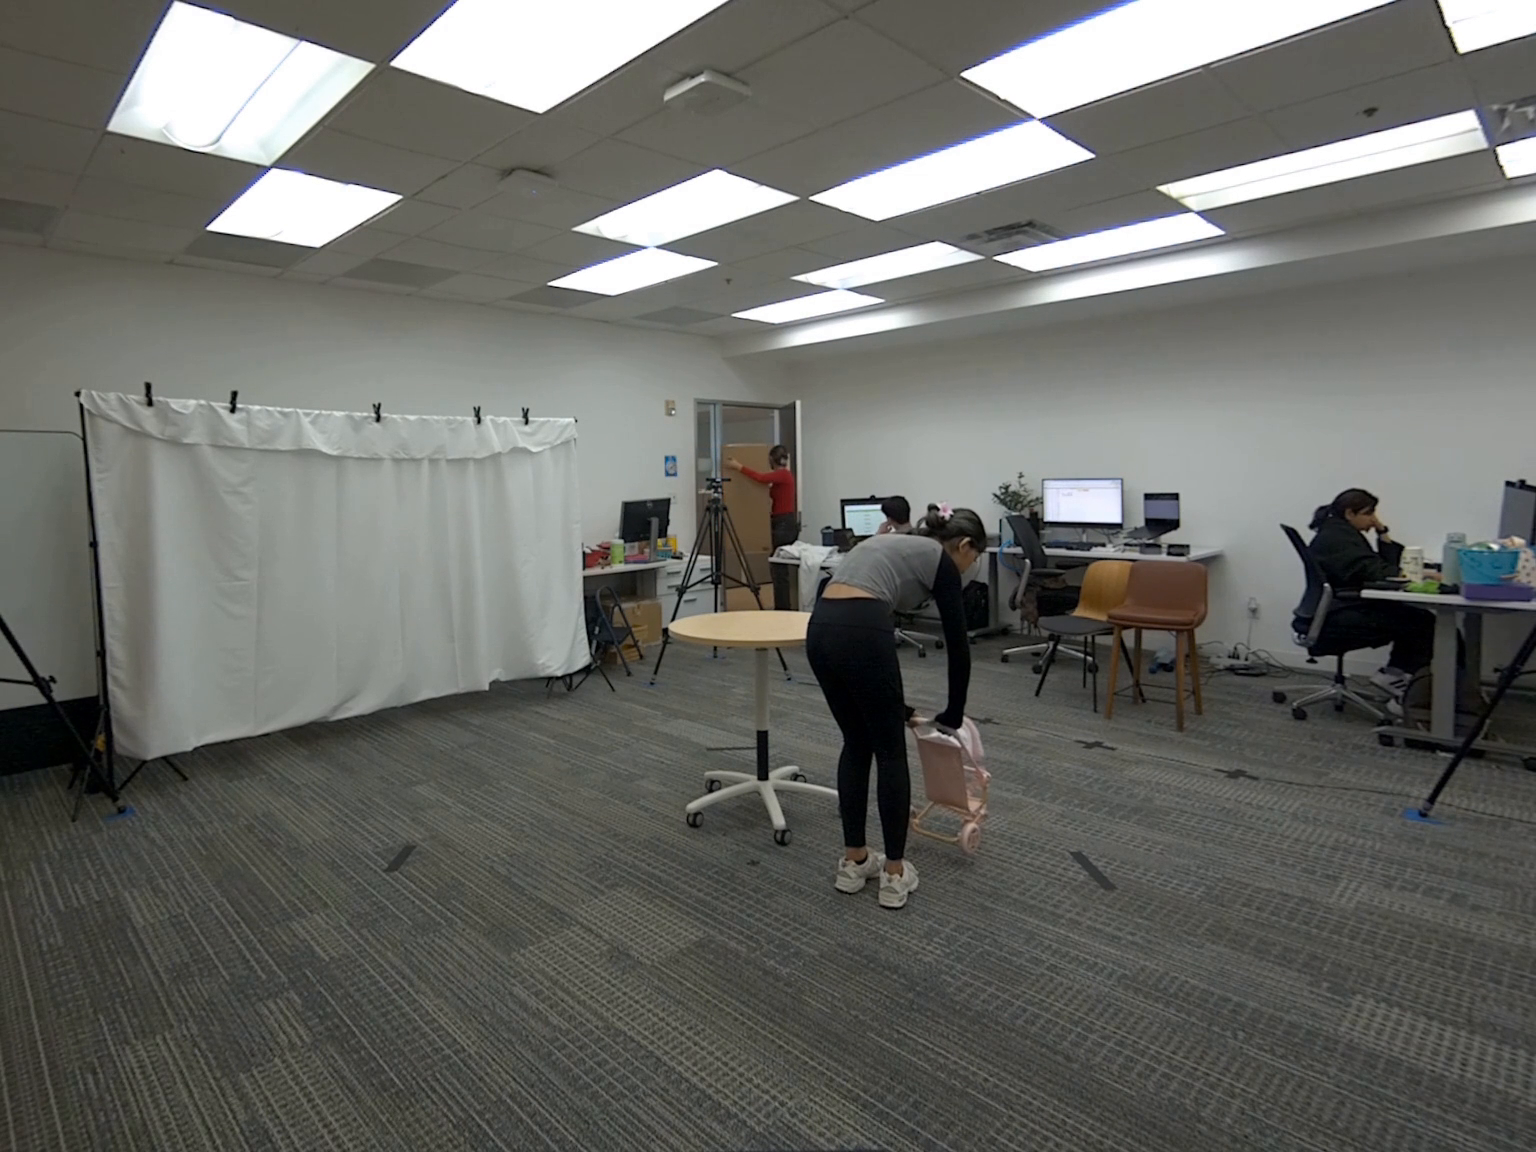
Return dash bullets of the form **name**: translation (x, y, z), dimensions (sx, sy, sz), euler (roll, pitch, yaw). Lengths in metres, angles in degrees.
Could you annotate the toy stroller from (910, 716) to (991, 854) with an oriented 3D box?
- **toy stroller**: translation (0.691, 0.761, 3.188), dimensions (0.333, 0.532, 0.290), euler (-8, 7, -44)
